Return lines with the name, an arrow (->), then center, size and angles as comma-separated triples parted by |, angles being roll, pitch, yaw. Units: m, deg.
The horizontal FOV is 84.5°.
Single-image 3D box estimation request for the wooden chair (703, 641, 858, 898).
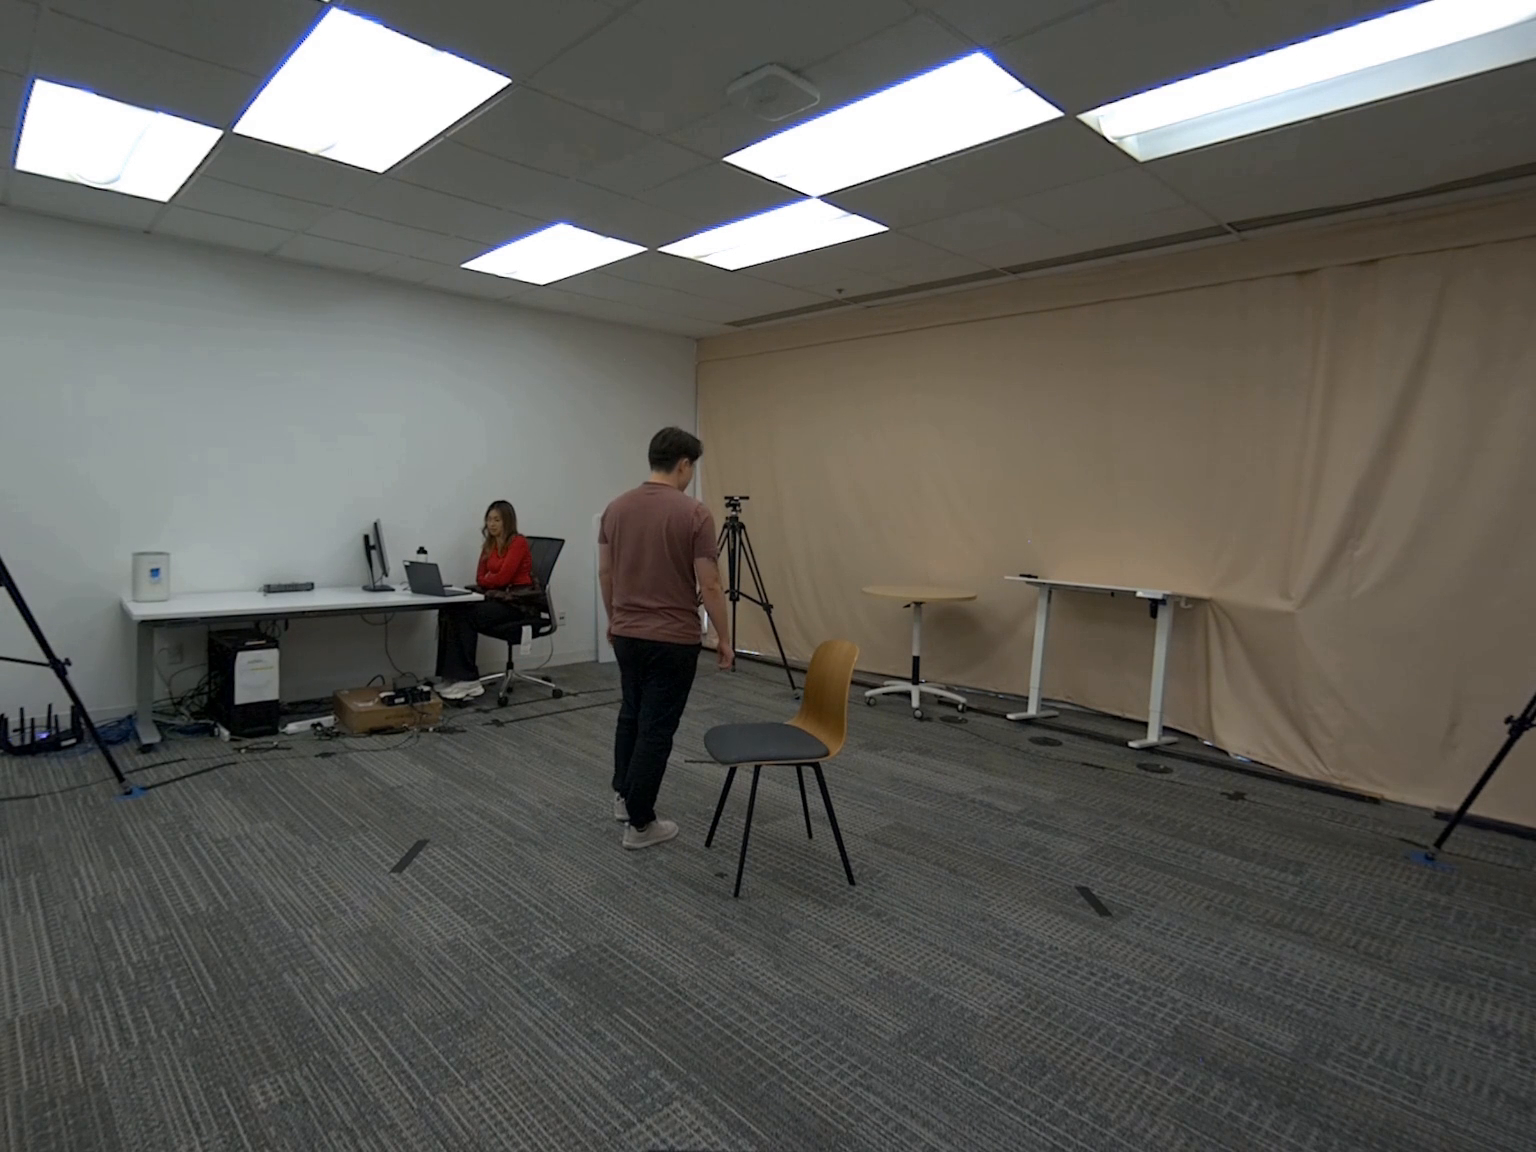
wooden chair -> 0.032, 0.677, 3.164 | 0.516, 0.876, 0.485 | 5, 2, -17
